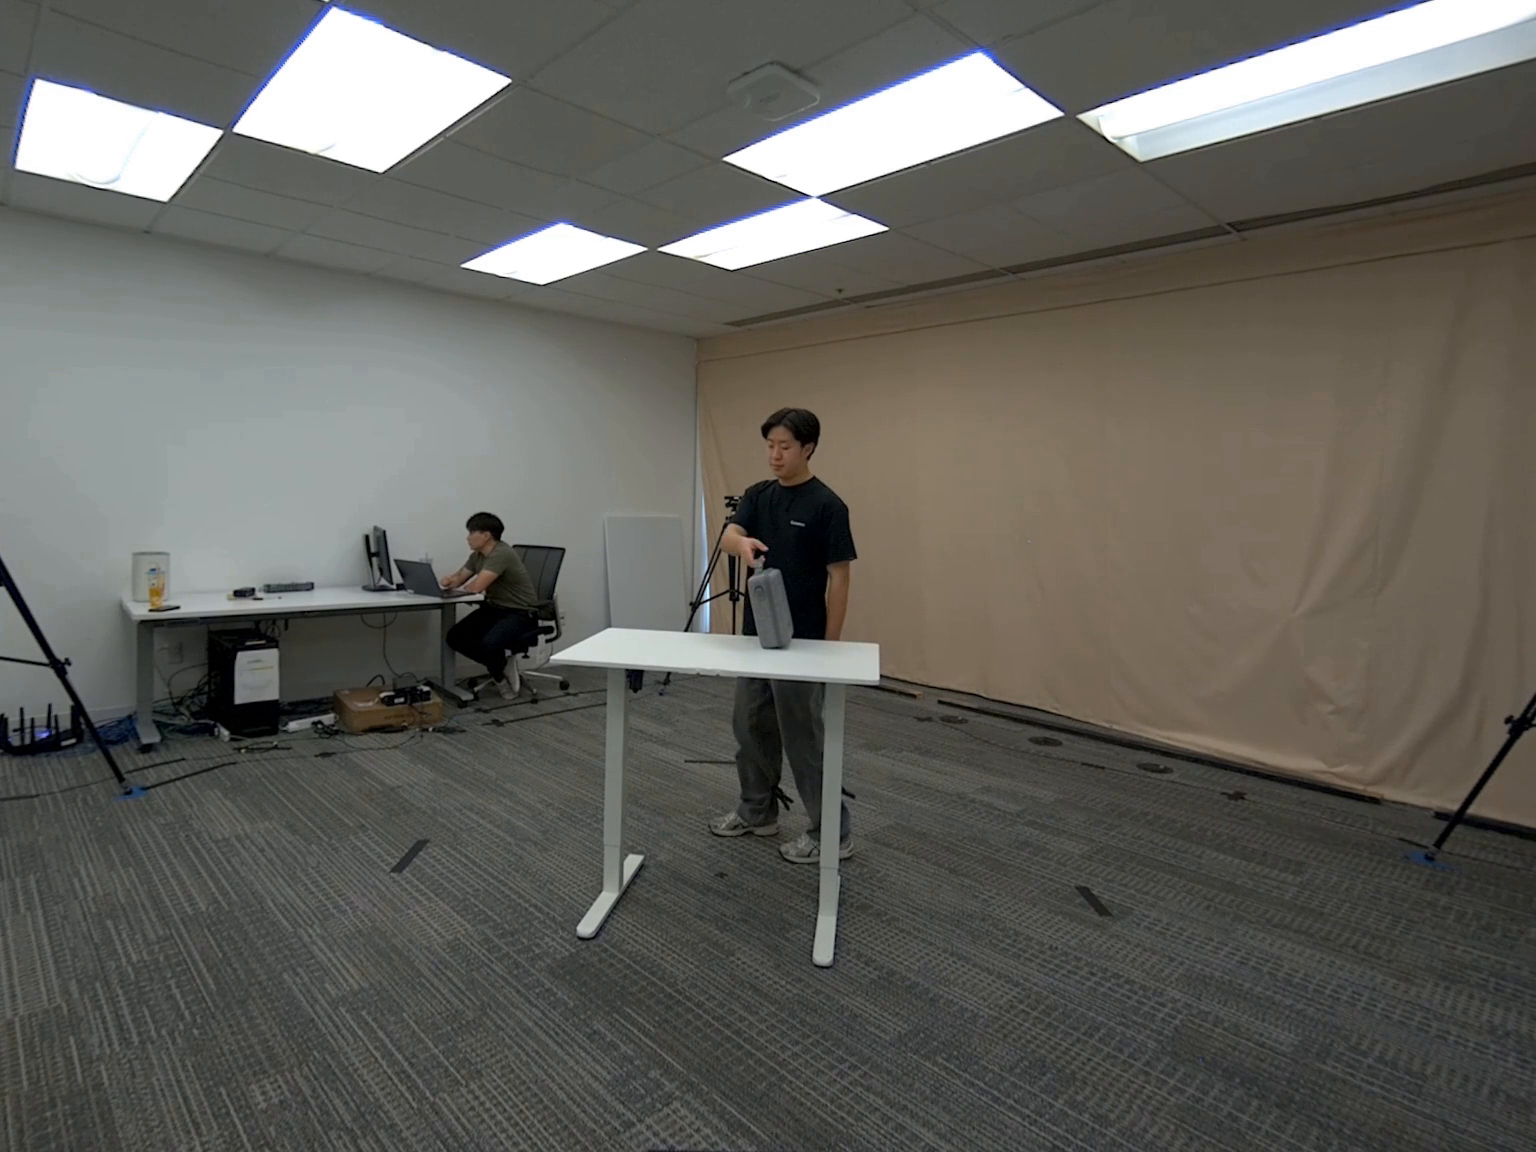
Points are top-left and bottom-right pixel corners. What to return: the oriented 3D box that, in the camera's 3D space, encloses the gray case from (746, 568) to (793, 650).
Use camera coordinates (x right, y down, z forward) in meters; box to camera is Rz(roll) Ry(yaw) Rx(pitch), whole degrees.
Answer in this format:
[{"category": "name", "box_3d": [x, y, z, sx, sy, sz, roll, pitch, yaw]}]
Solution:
[{"category": "gray case", "box_3d": [-0.006, 0.100, 2.948, 0.103, 0.287, 0.262, -9, 2, 7]}]
